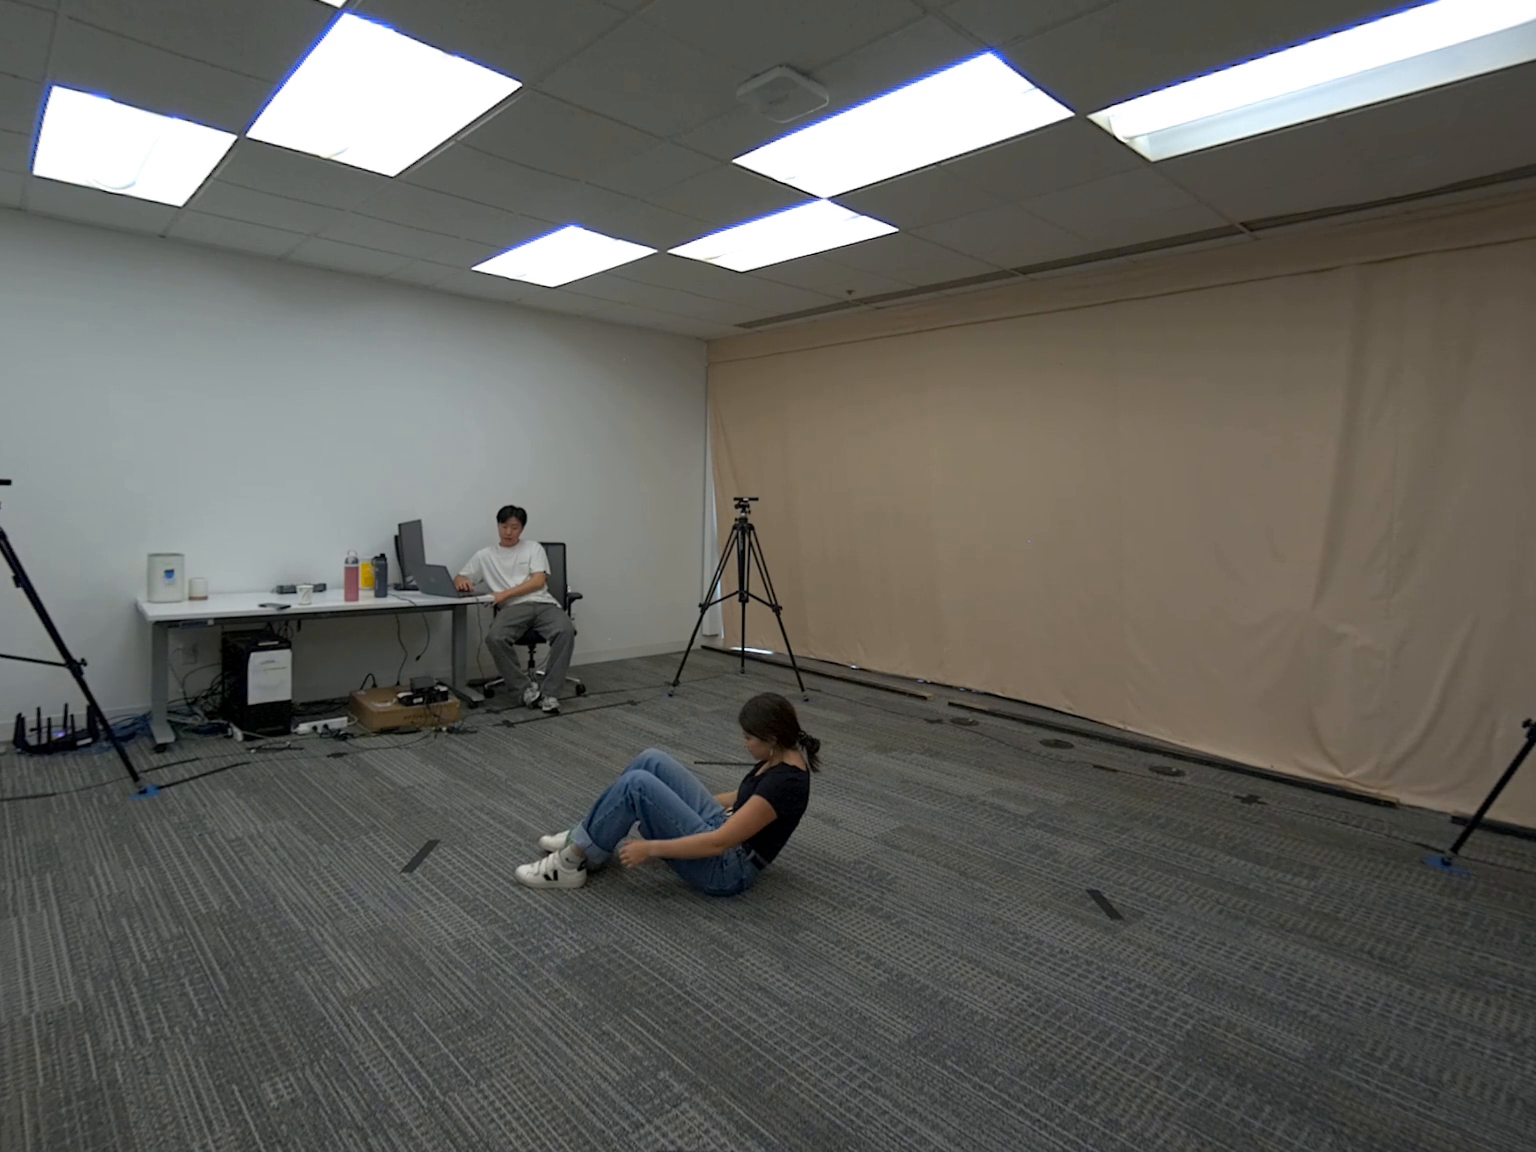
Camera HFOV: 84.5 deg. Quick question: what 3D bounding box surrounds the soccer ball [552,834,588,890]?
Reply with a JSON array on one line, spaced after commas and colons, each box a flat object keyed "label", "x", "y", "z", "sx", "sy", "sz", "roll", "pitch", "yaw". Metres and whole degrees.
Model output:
[{"label": "soccer ball", "x": -0.653, "y": 0.998, "z": 3.121, "sx": 0.187, "sy": 0.186, "sz": 0.188, "roll": 1, "pitch": 7, "yaw": -1}]
